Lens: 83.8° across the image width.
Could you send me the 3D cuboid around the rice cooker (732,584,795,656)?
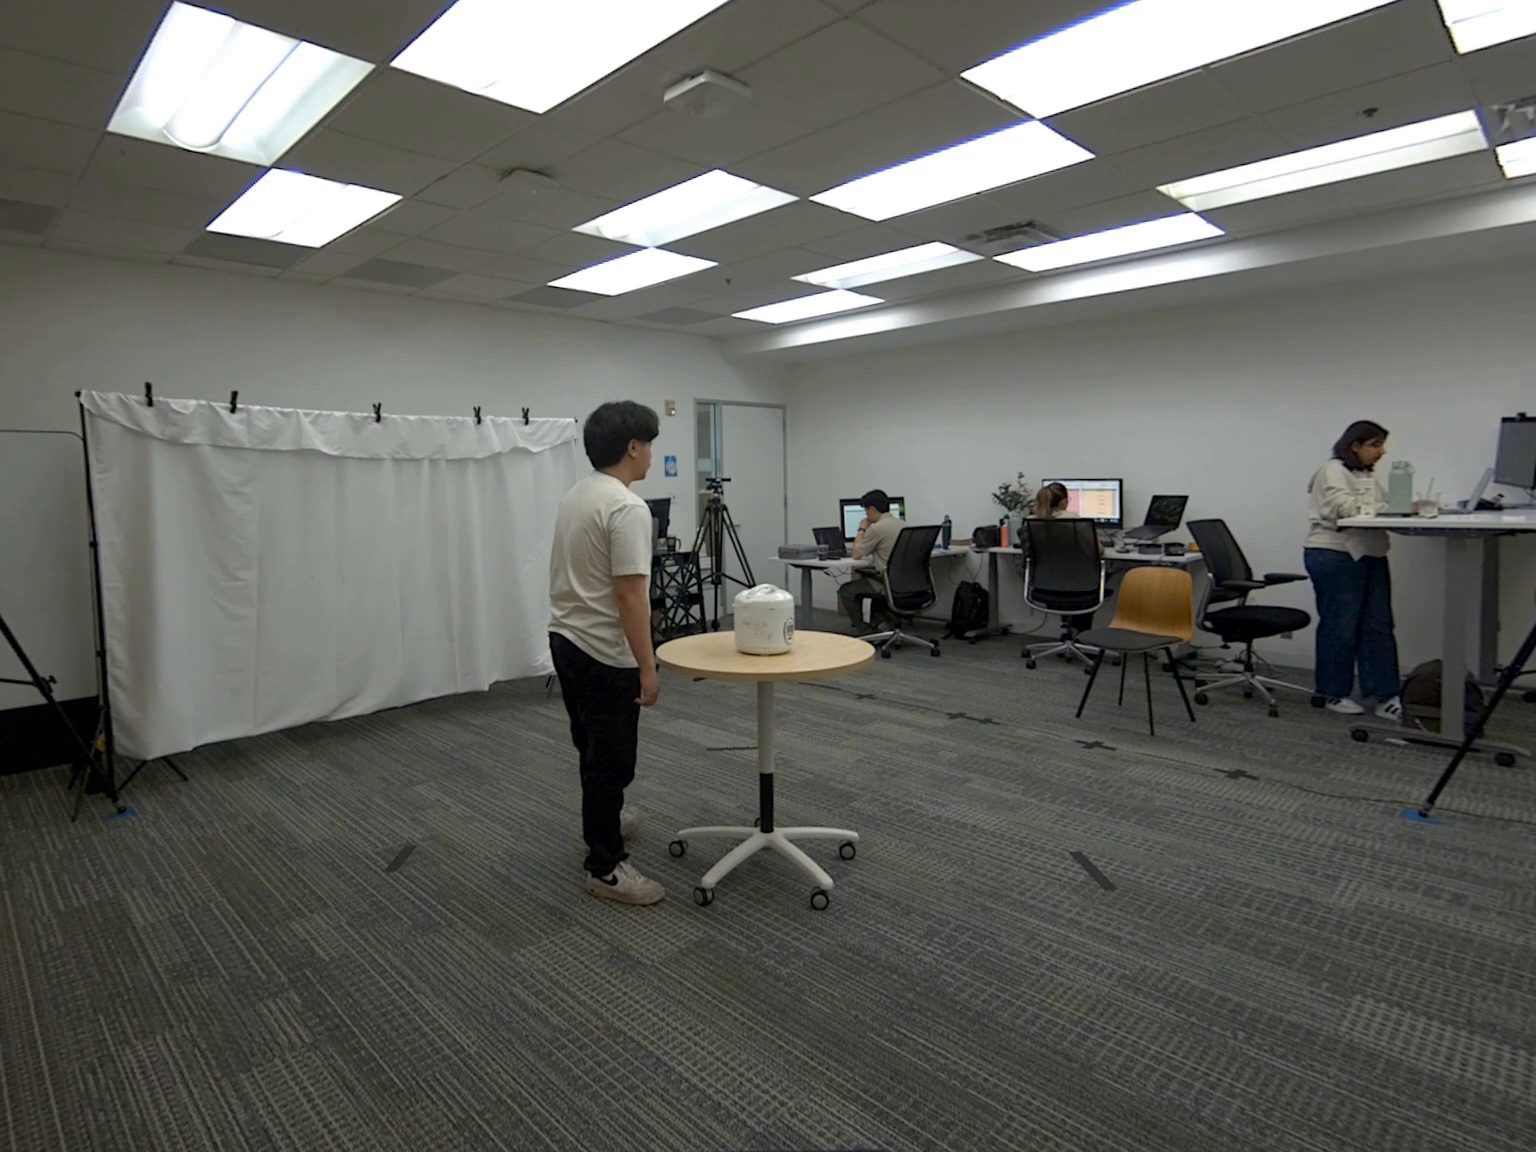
[{"bbox_3d":[-0.010,0.139,2.952,0.224,0.232,0.215,2,5,38],"label":"rice cooker"}]
